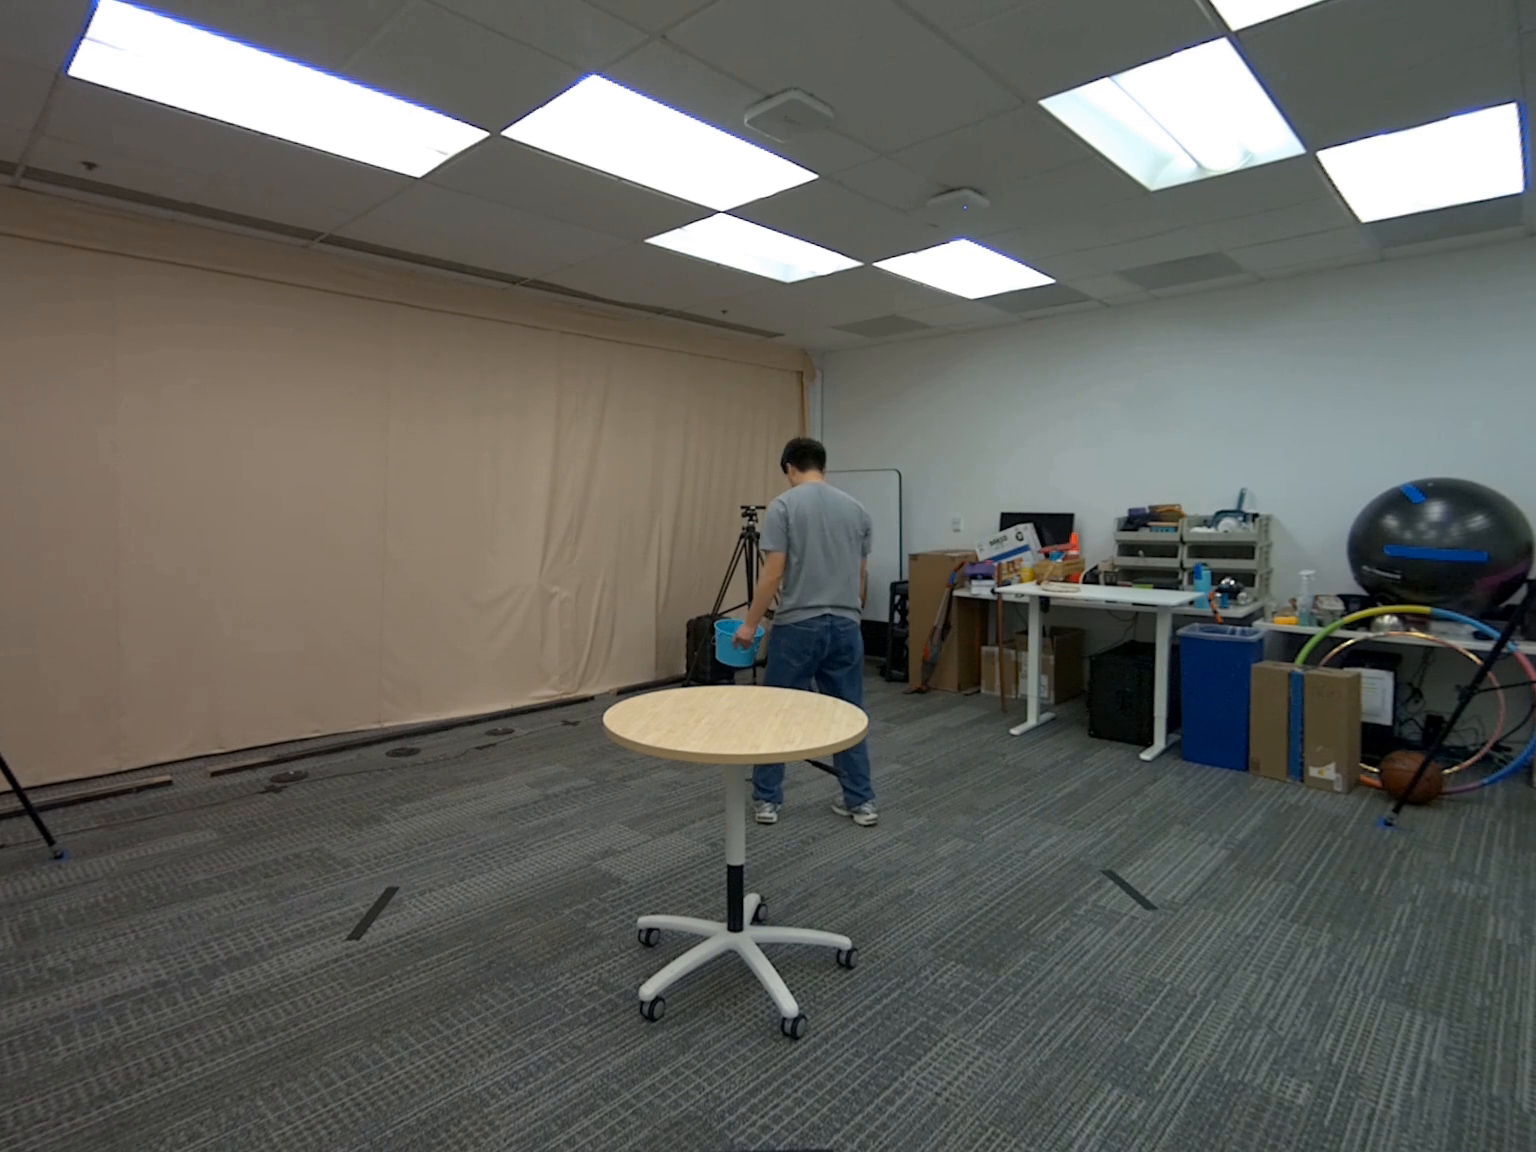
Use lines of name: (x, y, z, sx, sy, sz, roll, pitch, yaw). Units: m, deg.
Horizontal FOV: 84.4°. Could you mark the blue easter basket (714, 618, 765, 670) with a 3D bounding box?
blue easter basket: (-0.127, 0.308, 3.882, 0.243, 0.155, 0.246, 7, 13, -3)
